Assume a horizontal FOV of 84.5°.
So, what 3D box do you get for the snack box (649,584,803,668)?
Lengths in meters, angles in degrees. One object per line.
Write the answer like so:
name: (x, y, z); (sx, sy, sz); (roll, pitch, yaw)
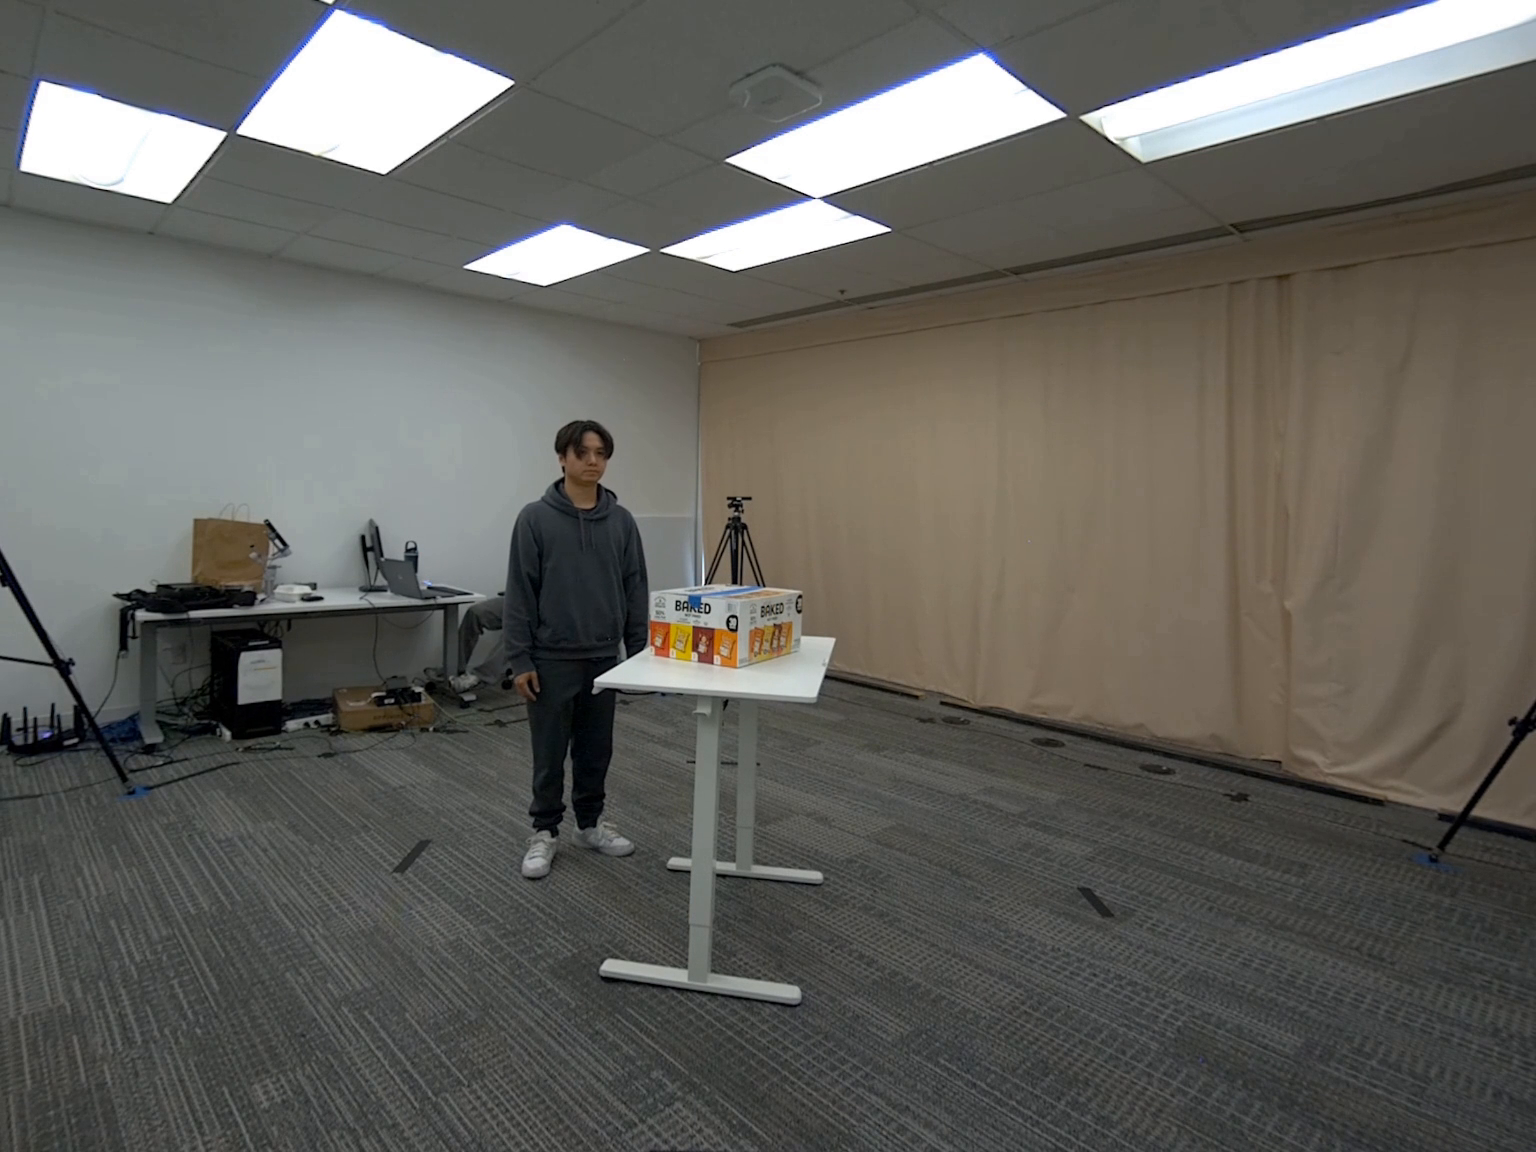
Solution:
snack box: (-0.139, 0.154, 2.759); (0.348, 0.205, 0.397); (5, 5, 31)
